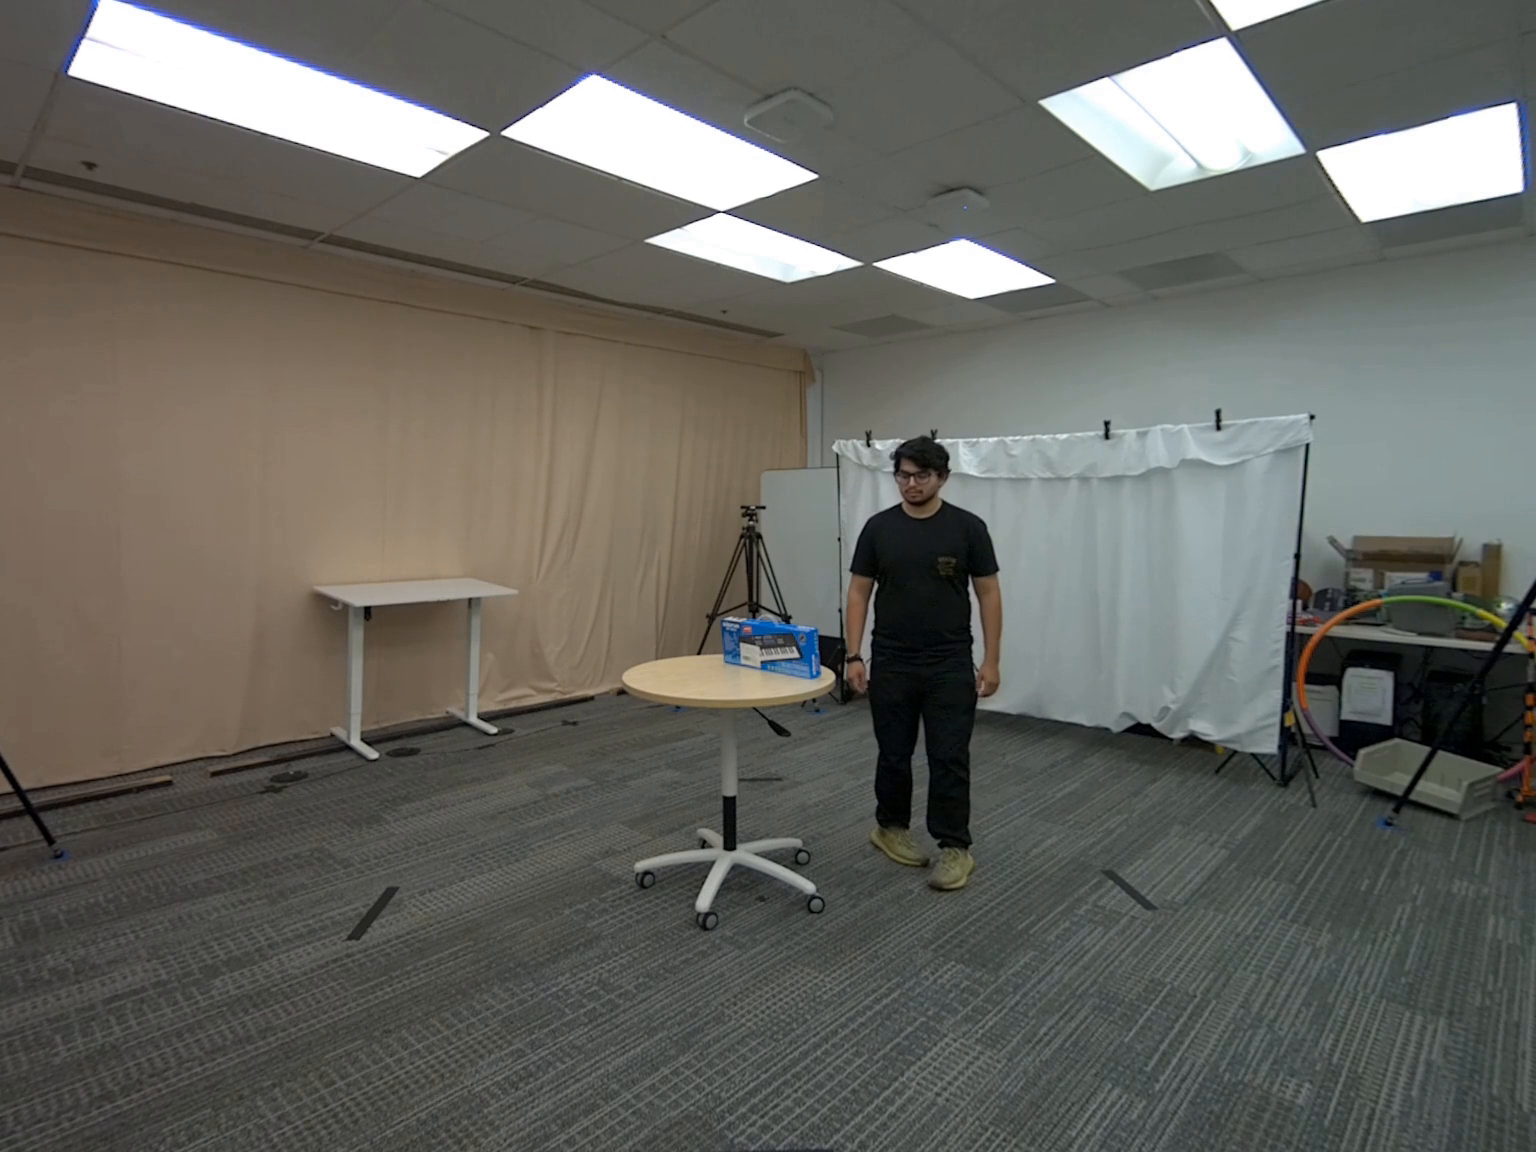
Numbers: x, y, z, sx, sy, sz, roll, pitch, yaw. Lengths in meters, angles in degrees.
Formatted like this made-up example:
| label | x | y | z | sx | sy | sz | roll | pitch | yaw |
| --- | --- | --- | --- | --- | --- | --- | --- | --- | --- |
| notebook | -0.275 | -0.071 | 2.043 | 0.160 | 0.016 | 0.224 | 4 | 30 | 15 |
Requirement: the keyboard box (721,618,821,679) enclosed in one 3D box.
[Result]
| label | x | y | z | sx | sy | sz | roll | pitch | yaw |
| --- | --- | --- | --- | --- | --- | --- | --- | --- | --- |
| keyboard box | 0.007 | 0.261 | 3.112 | 0.452 | 0.175 | 0.057 | 5 | 11 | 44 |
